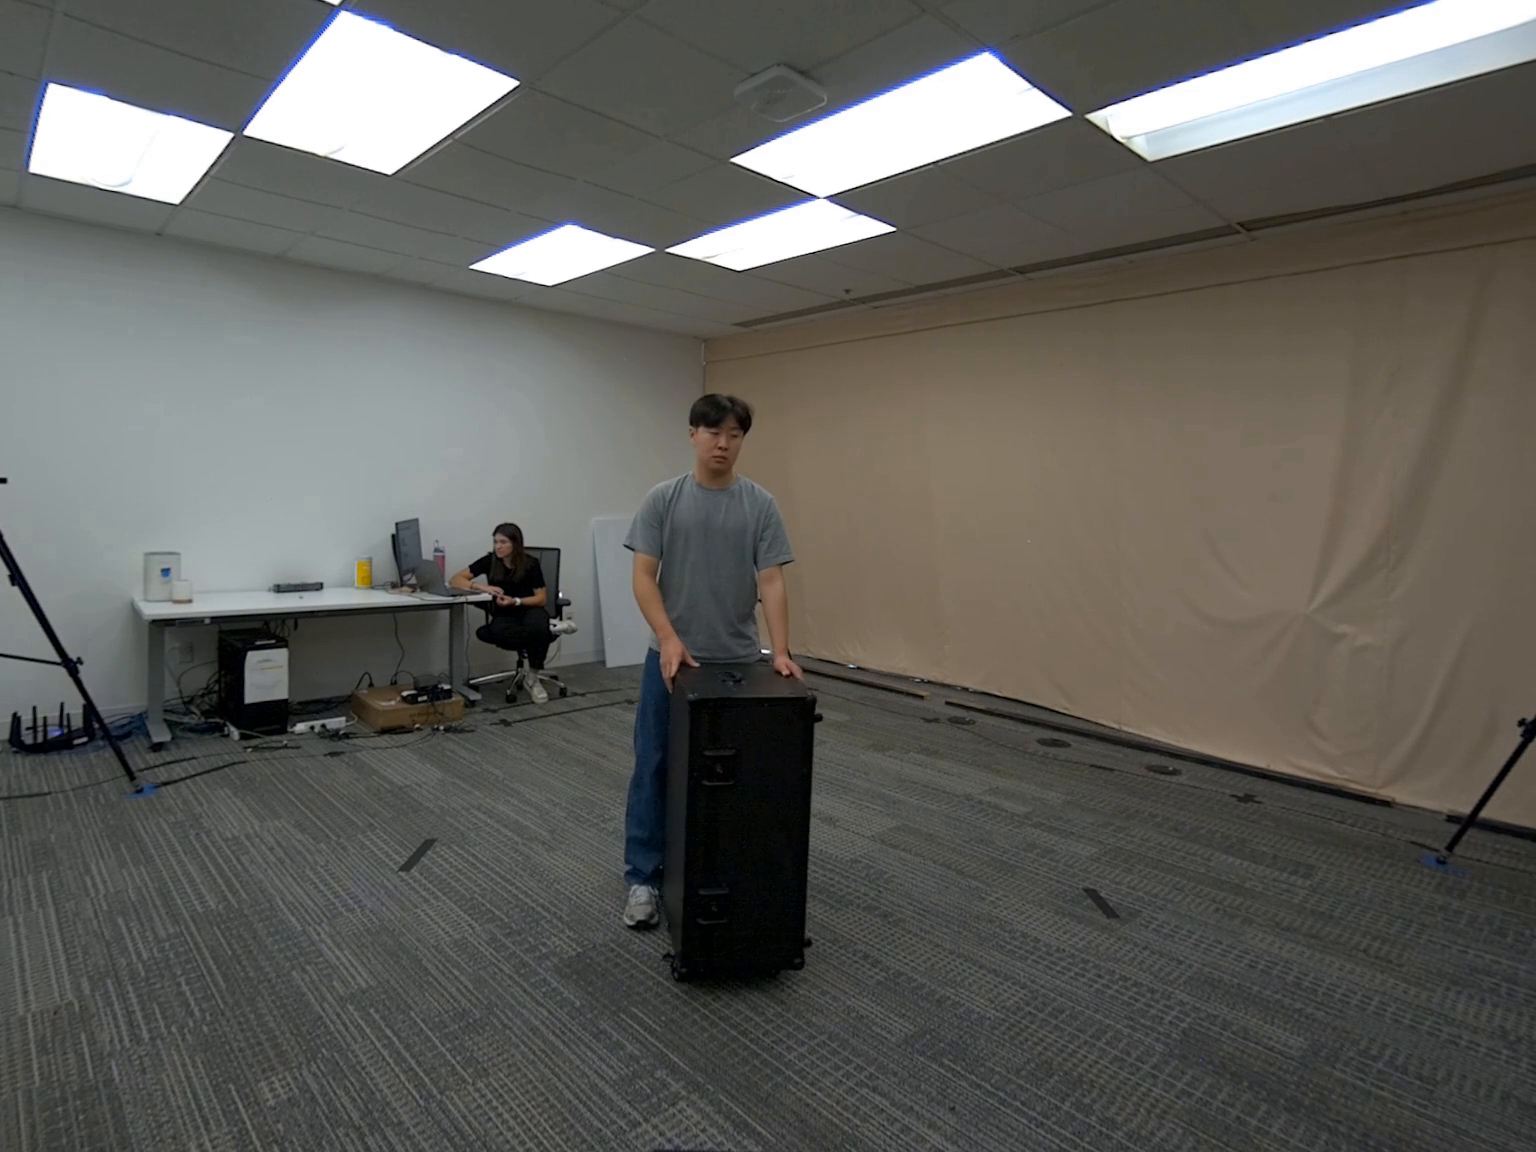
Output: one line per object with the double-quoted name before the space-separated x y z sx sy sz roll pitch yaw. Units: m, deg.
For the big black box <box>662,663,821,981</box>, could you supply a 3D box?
"big black box" -0.106 0.742 2.557 0.392 0.859 0.528 3 4 -12
